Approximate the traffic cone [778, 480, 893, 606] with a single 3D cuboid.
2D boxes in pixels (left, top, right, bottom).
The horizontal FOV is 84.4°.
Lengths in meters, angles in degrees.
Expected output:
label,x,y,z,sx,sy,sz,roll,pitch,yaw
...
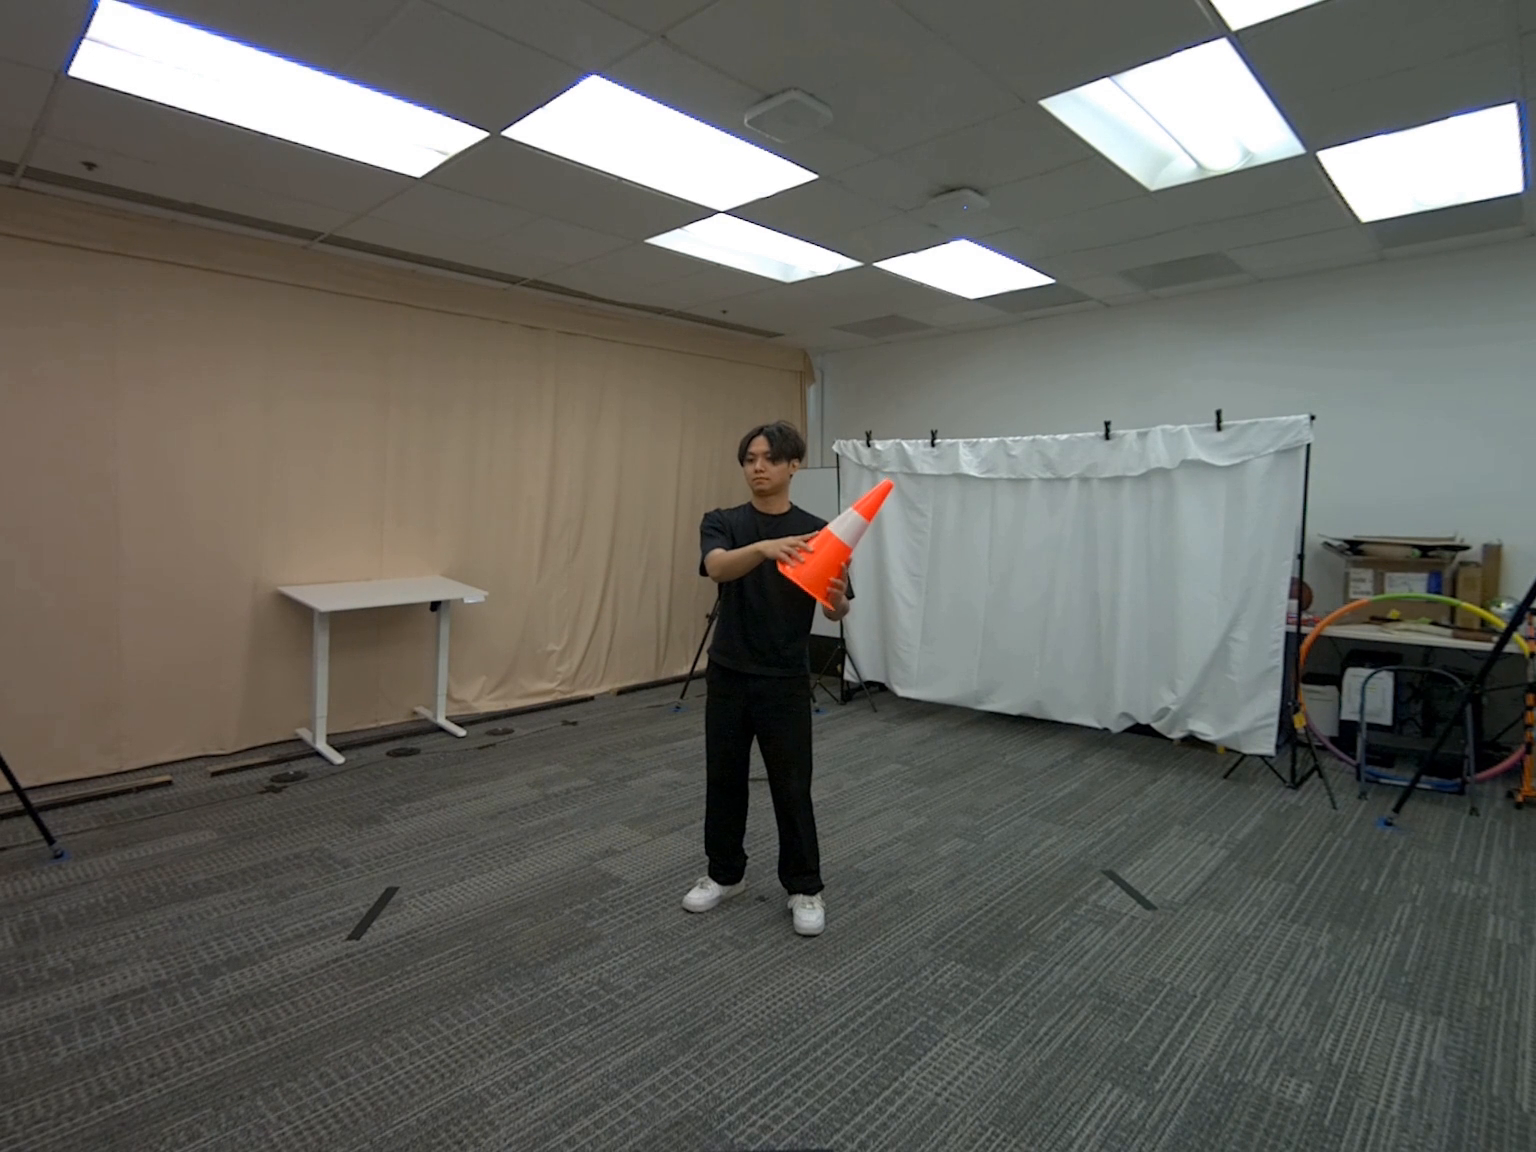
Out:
label,x,y,z,sx,sy,sz,roll,pitch,yaw
traffic cone,0.214,-0.118,2.405,0.203,0.384,0.205,39,10,-3
